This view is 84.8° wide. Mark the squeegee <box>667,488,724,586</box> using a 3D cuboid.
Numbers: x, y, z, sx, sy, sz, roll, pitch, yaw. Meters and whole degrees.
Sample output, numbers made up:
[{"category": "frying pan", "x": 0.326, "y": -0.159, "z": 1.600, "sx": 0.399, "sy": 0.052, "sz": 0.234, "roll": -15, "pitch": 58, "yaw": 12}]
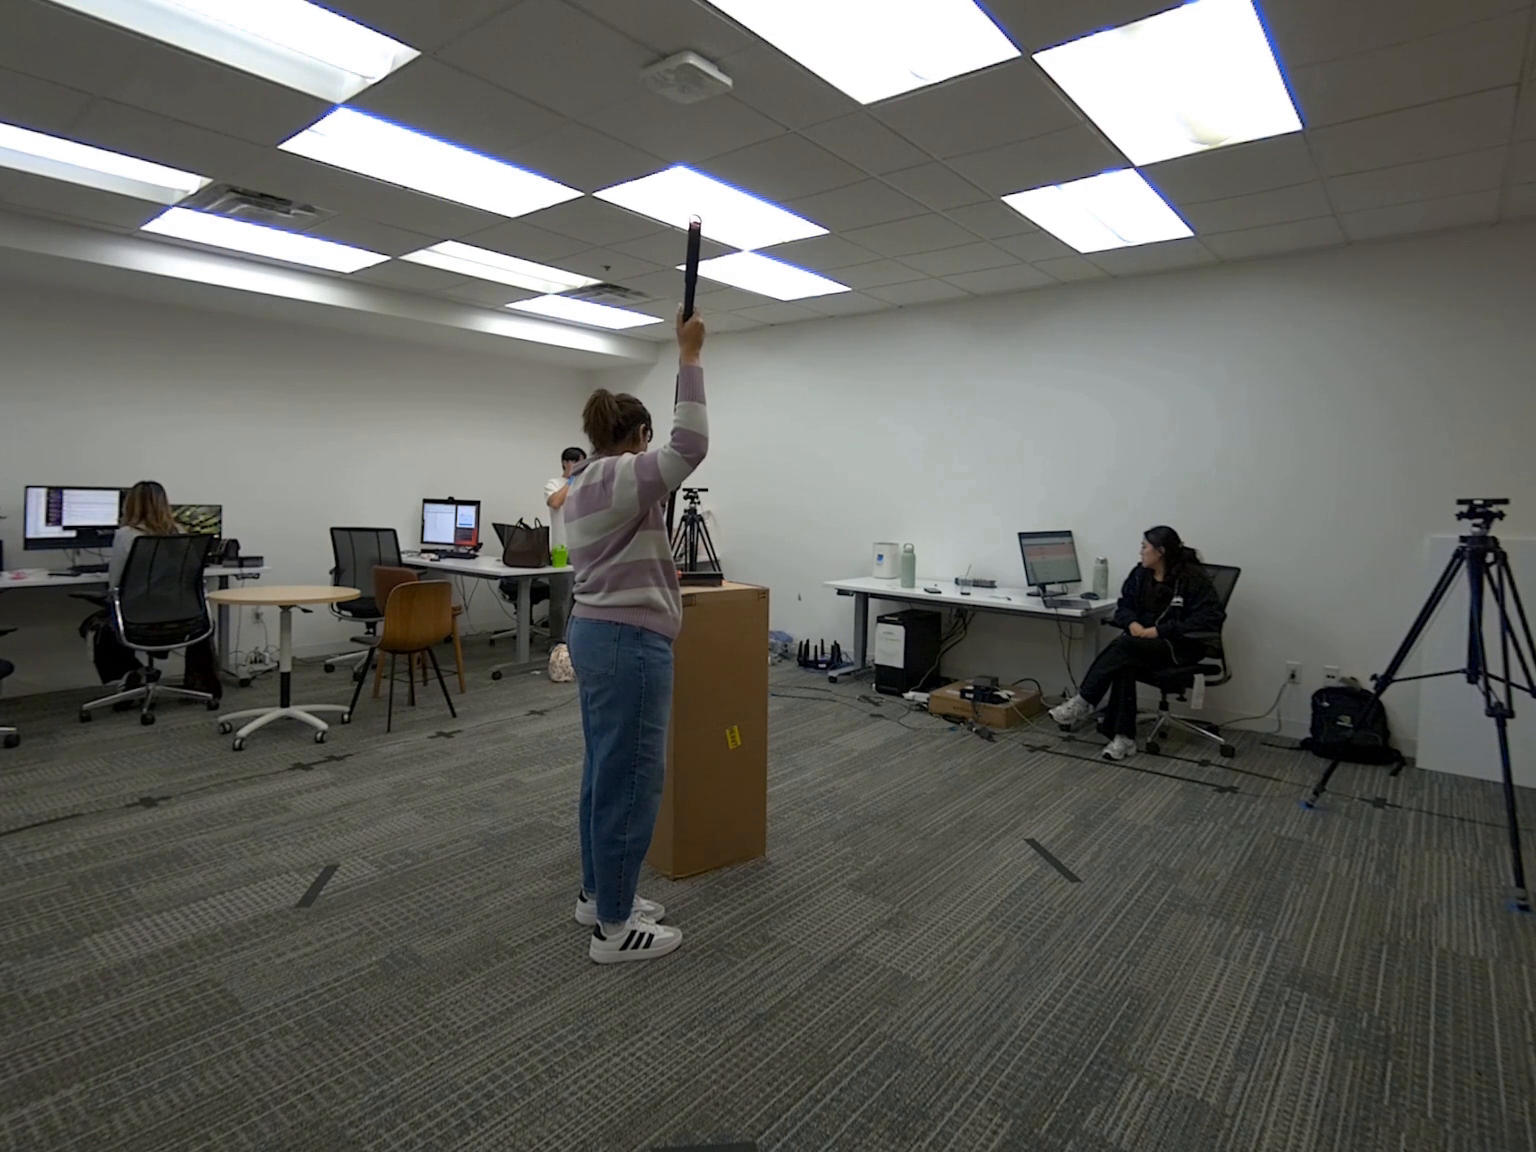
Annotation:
[{"category": "squeegee", "x": -0.264, "y": -0.418, "z": 2.632, "sx": 0.433, "sy": 0.054, "sz": 1.503, "roll": -2, "pitch": -36, "yaw": -10}]
